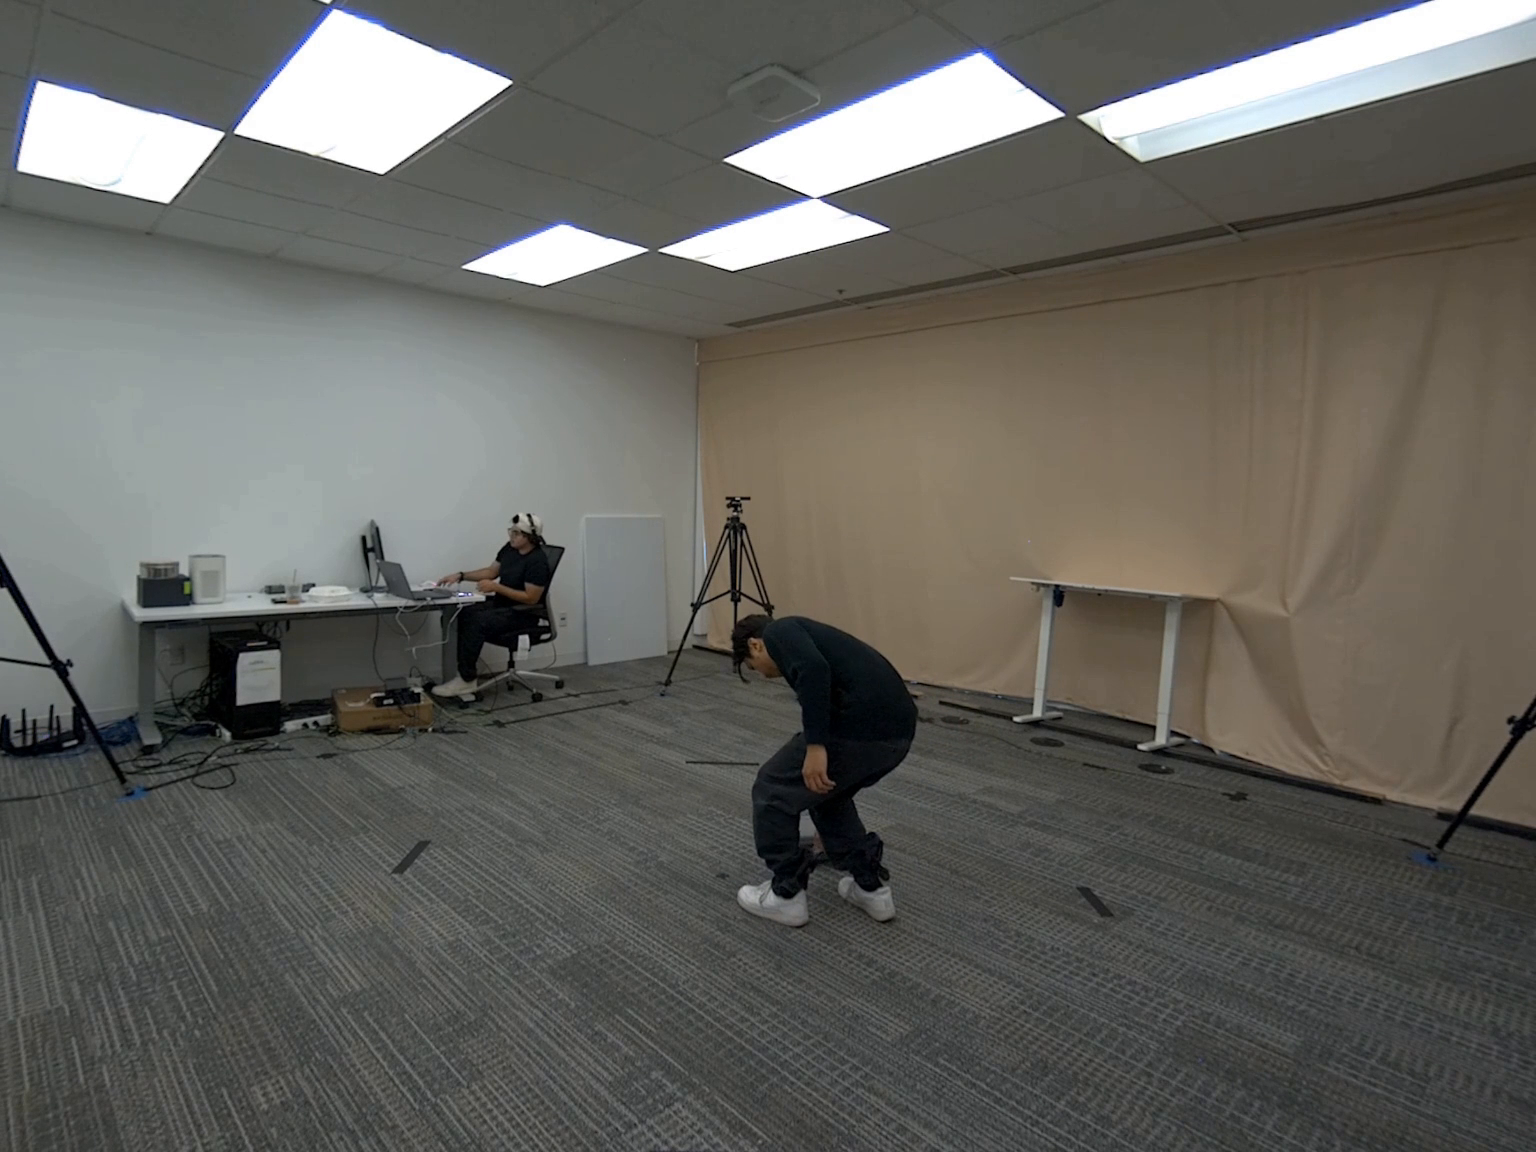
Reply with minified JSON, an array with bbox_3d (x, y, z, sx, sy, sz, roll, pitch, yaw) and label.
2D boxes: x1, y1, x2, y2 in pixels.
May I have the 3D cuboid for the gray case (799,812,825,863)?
[{"bbox_3d":[0.178,1.034,3.335,0.254,0.104,0.264,1,2,-15],"label":"gray case"}]
